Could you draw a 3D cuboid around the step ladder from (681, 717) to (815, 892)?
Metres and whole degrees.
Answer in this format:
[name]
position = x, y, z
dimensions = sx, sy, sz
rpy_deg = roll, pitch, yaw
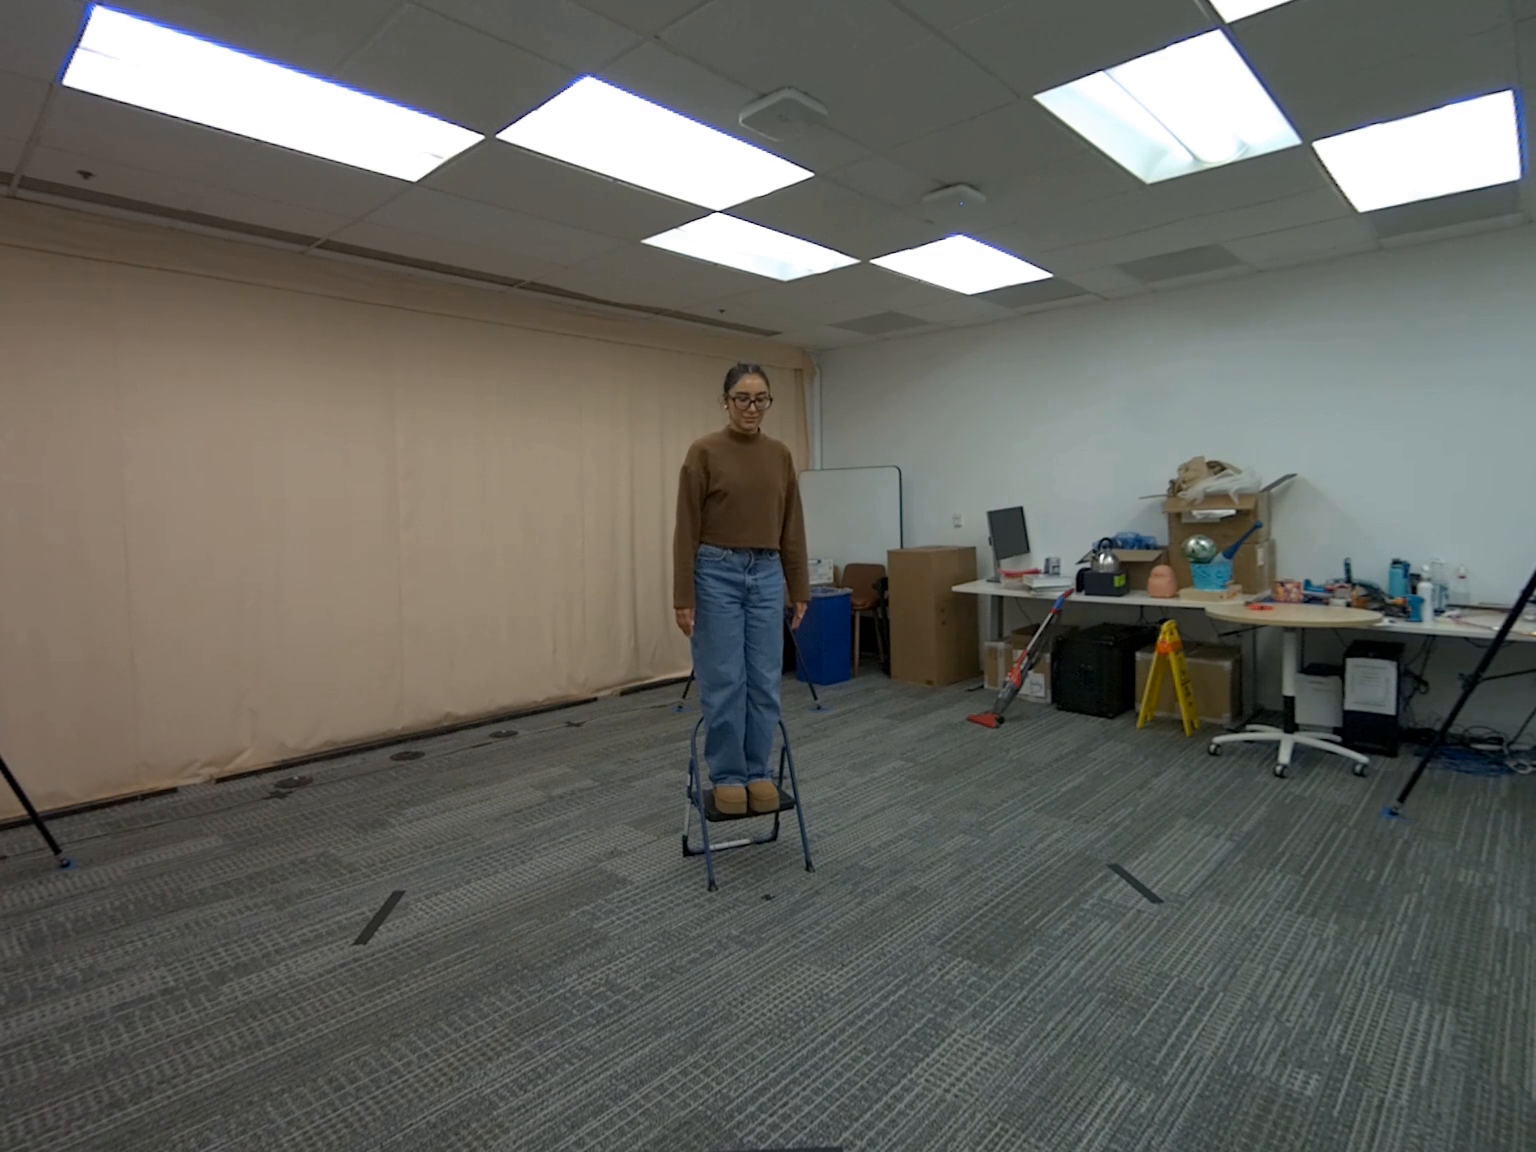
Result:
[step ladder]
position = -0.088, 0.819, 3.263
dimensions = 0.421, 0.605, 0.358
rpy_deg = -3, 4, -23
